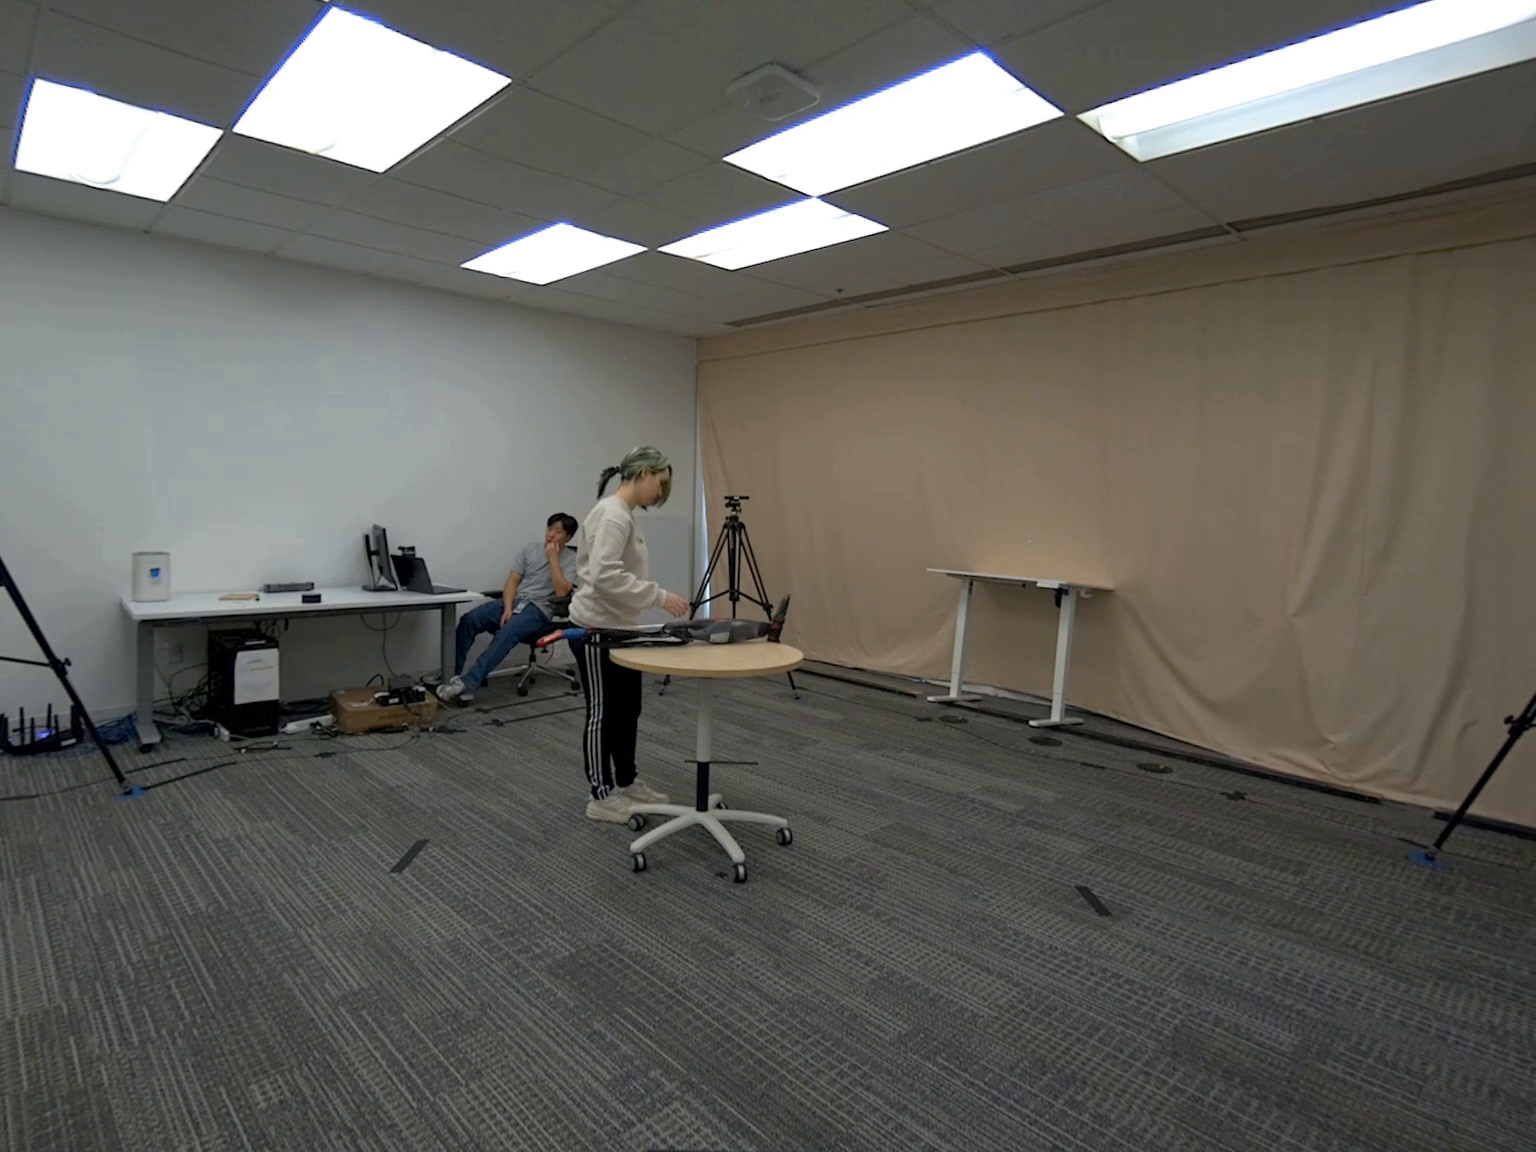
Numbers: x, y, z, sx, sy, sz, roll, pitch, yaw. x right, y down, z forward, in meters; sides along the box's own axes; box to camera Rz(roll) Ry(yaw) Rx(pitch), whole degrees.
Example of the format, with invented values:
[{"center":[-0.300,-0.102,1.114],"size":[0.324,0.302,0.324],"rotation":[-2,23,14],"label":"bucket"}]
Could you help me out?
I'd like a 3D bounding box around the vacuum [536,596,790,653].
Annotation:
[{"center":[-0.415,0.244,3.433],"size":[1.031,0.250,0.148],"rotation":[-5,50,-26],"label":"vacuum"}]
